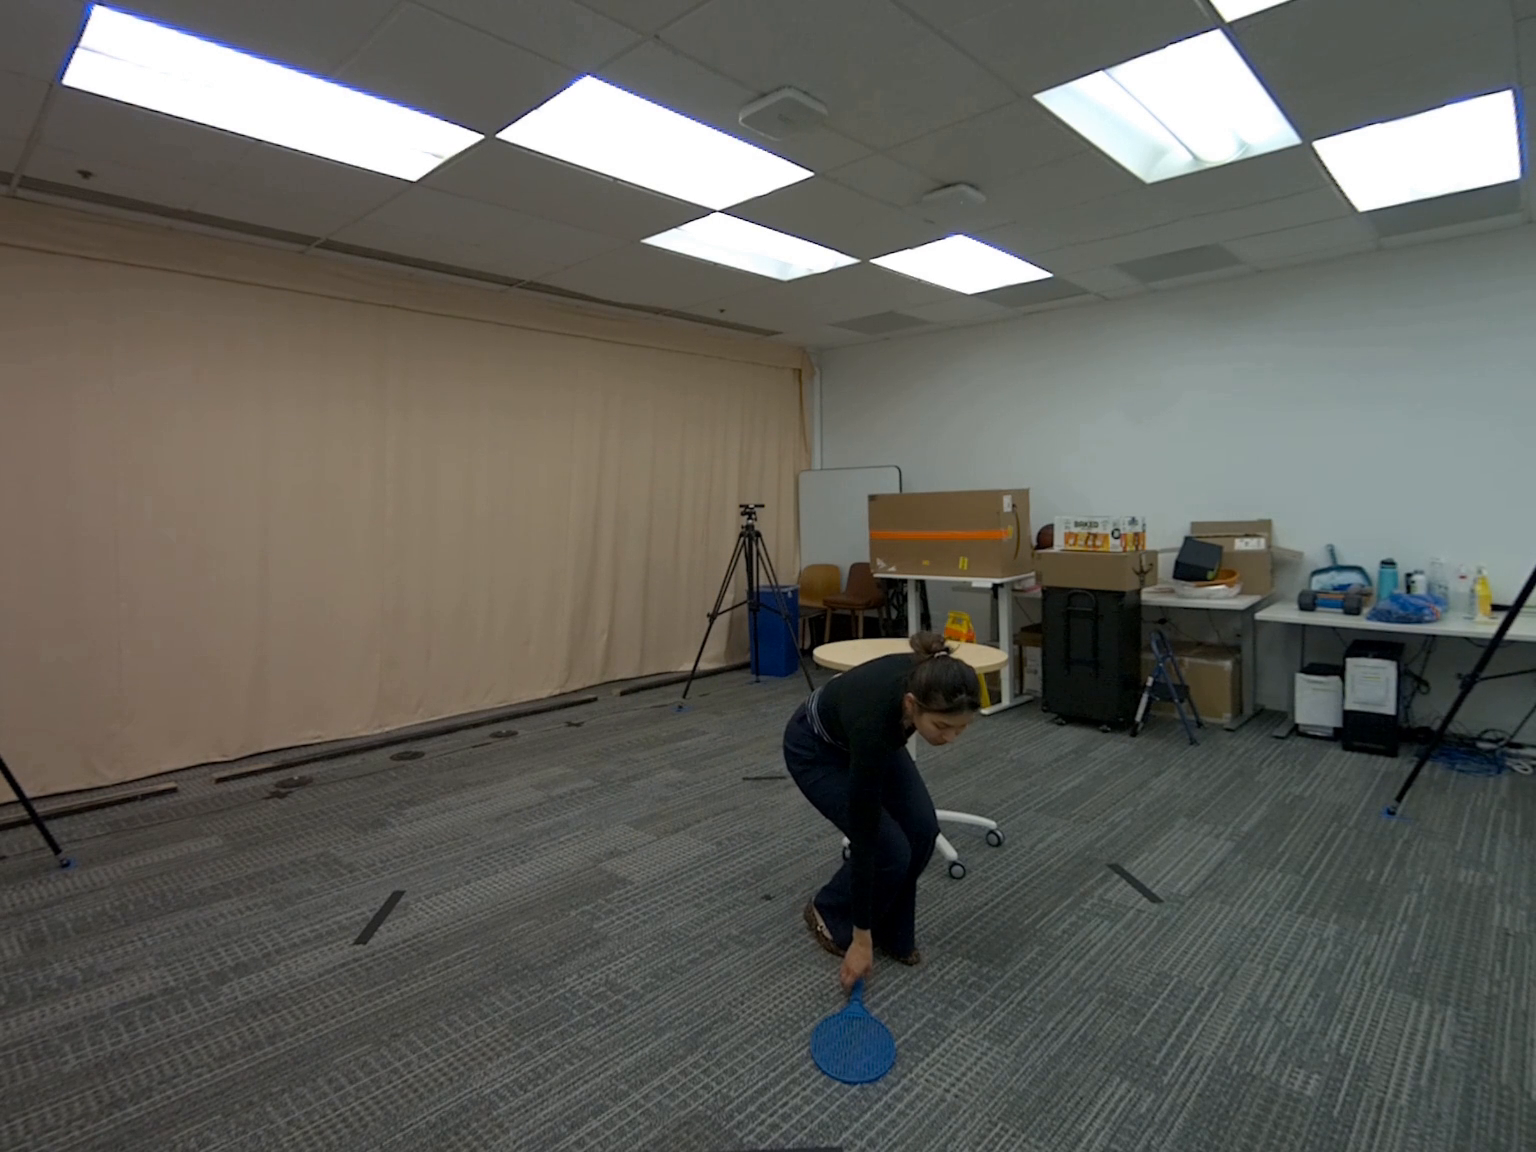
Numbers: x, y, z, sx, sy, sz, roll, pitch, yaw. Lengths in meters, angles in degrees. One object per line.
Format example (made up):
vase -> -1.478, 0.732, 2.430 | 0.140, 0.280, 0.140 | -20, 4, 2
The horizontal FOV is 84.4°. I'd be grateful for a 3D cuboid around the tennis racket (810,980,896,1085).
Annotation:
tennis racket -> 0.232, 1.188, 2.230 | 0.216, 0.031, 0.430 | -1, 6, 8
